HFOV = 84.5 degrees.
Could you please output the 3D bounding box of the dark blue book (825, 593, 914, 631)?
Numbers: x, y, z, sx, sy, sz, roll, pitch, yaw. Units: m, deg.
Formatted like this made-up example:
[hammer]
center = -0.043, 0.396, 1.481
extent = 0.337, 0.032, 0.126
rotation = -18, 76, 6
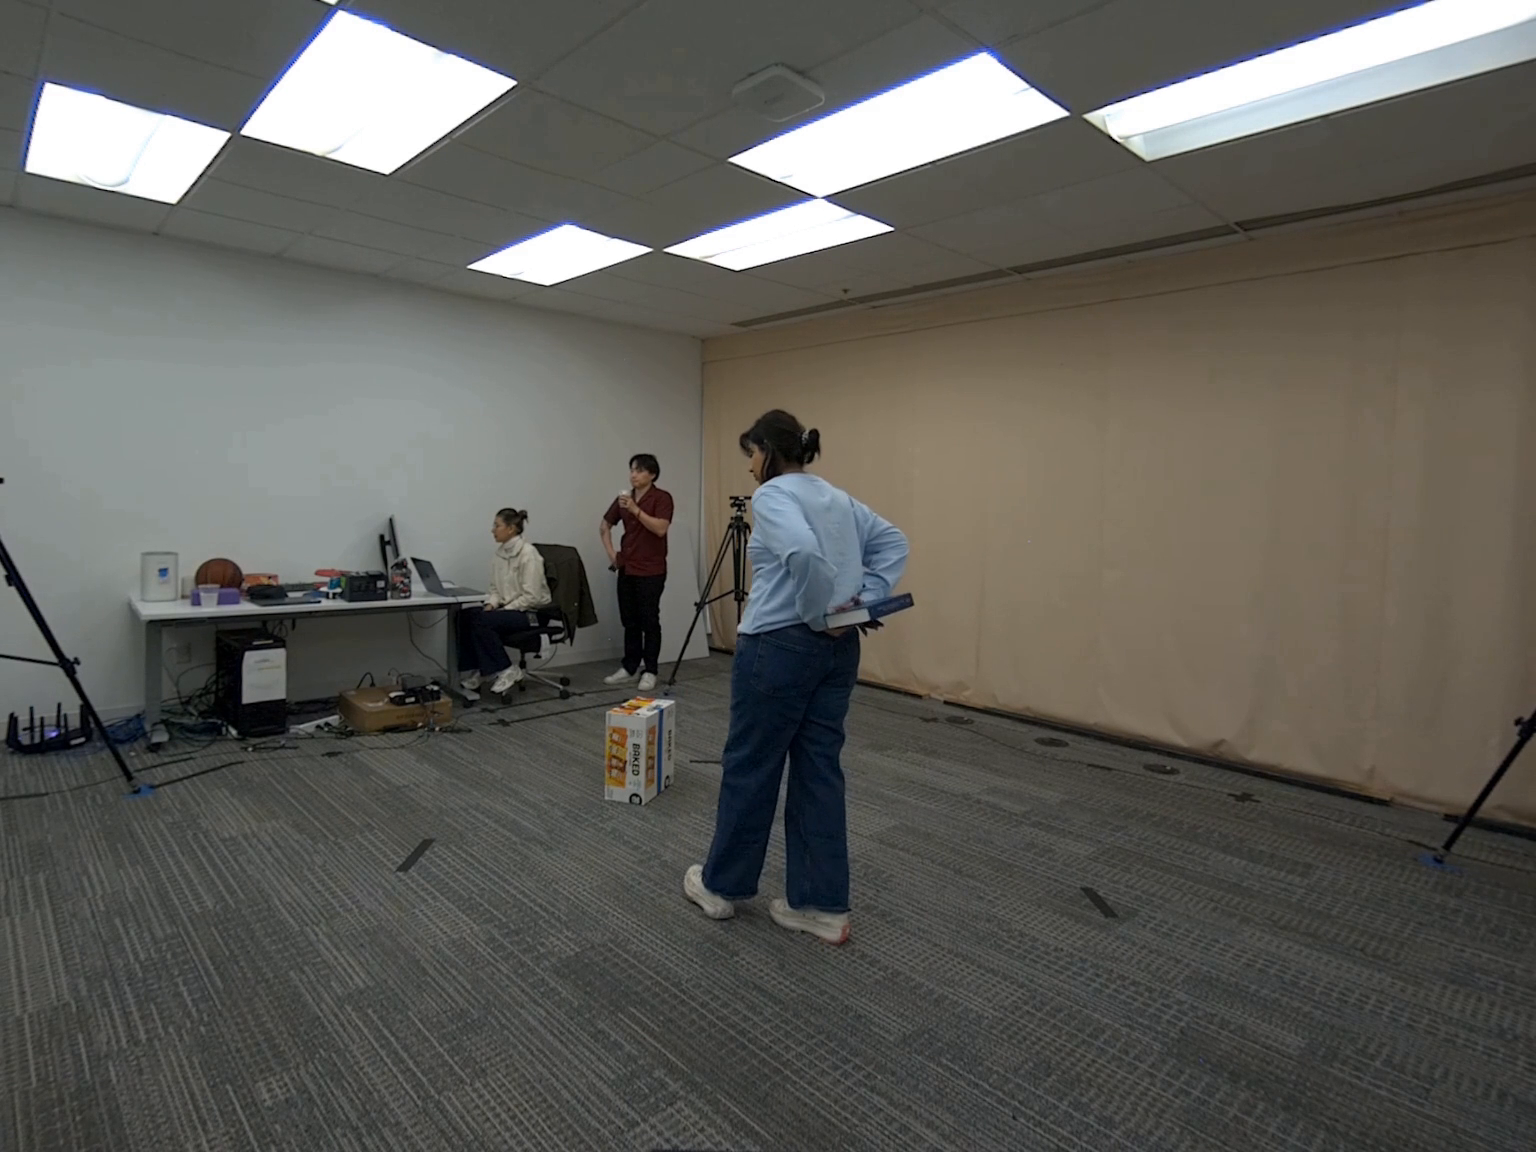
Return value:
[dark blue book]
center = 0.282, 0.103, 2.520
extent = 0.166, 0.045, 0.240
rotation = -16, -1, 41
